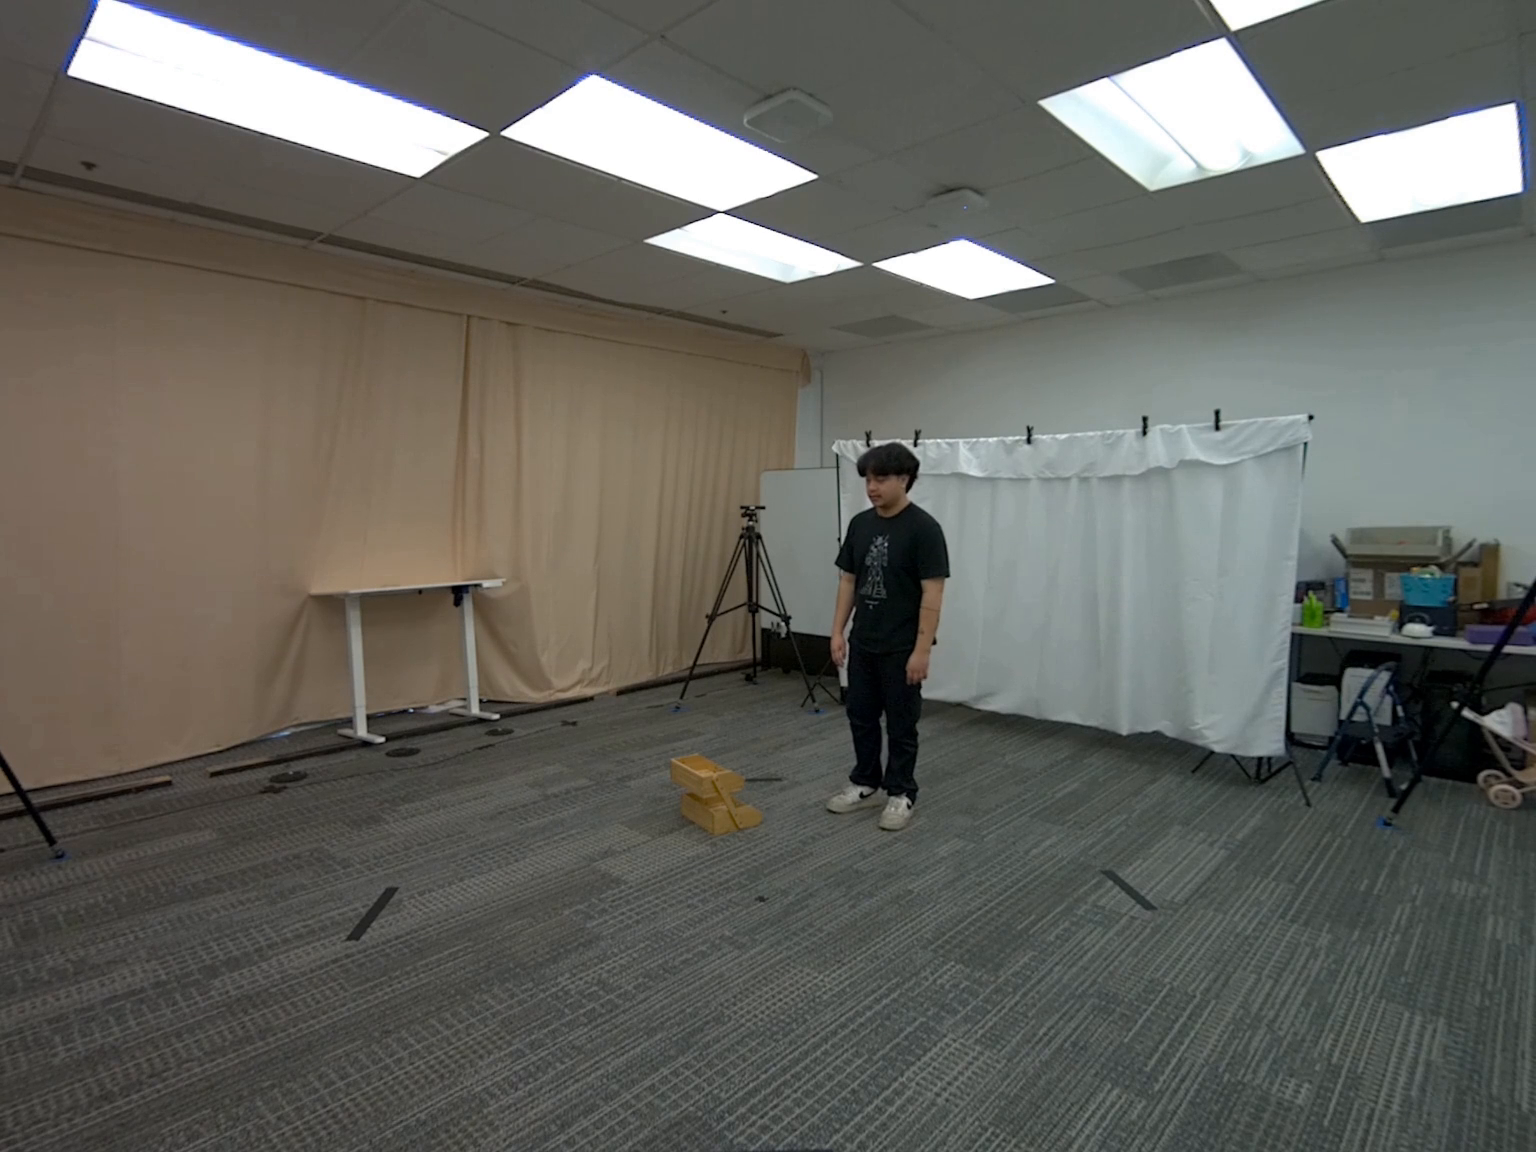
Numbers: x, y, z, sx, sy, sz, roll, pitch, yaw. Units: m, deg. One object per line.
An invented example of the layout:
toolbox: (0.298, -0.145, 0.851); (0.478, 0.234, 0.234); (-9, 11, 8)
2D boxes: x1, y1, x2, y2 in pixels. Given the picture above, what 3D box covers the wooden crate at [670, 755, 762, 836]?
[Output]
wooden crate: (-0.230, 0.953, 3.737); (0.293, 0.273, 0.334); (-3, 4, -34)
